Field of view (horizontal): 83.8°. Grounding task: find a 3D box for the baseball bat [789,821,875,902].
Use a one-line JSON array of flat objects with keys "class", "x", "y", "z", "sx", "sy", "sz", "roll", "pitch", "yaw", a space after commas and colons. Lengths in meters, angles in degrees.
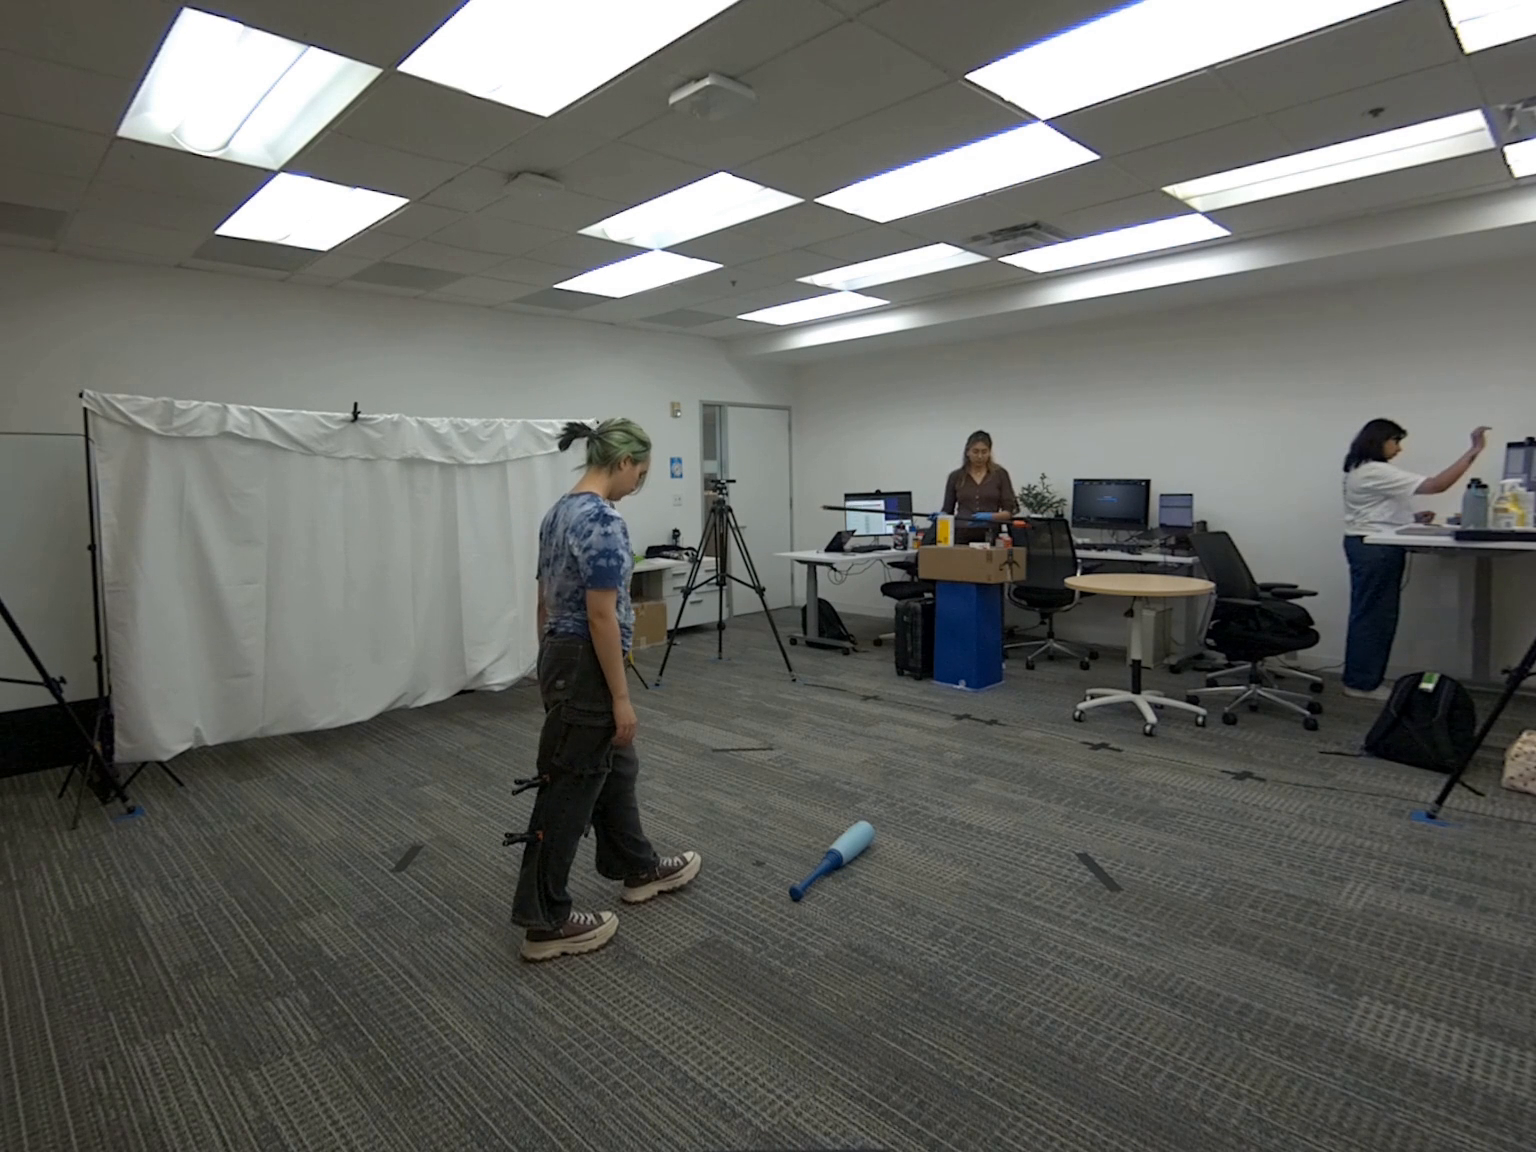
[{"class": "baseball bat", "x": 0.234, "y": 1.015, "z": 3.036, "sx": 0.091, "sy": 0.088, "sz": 0.532, "roll": 2, "pitch": 10, "yaw": 32}]
